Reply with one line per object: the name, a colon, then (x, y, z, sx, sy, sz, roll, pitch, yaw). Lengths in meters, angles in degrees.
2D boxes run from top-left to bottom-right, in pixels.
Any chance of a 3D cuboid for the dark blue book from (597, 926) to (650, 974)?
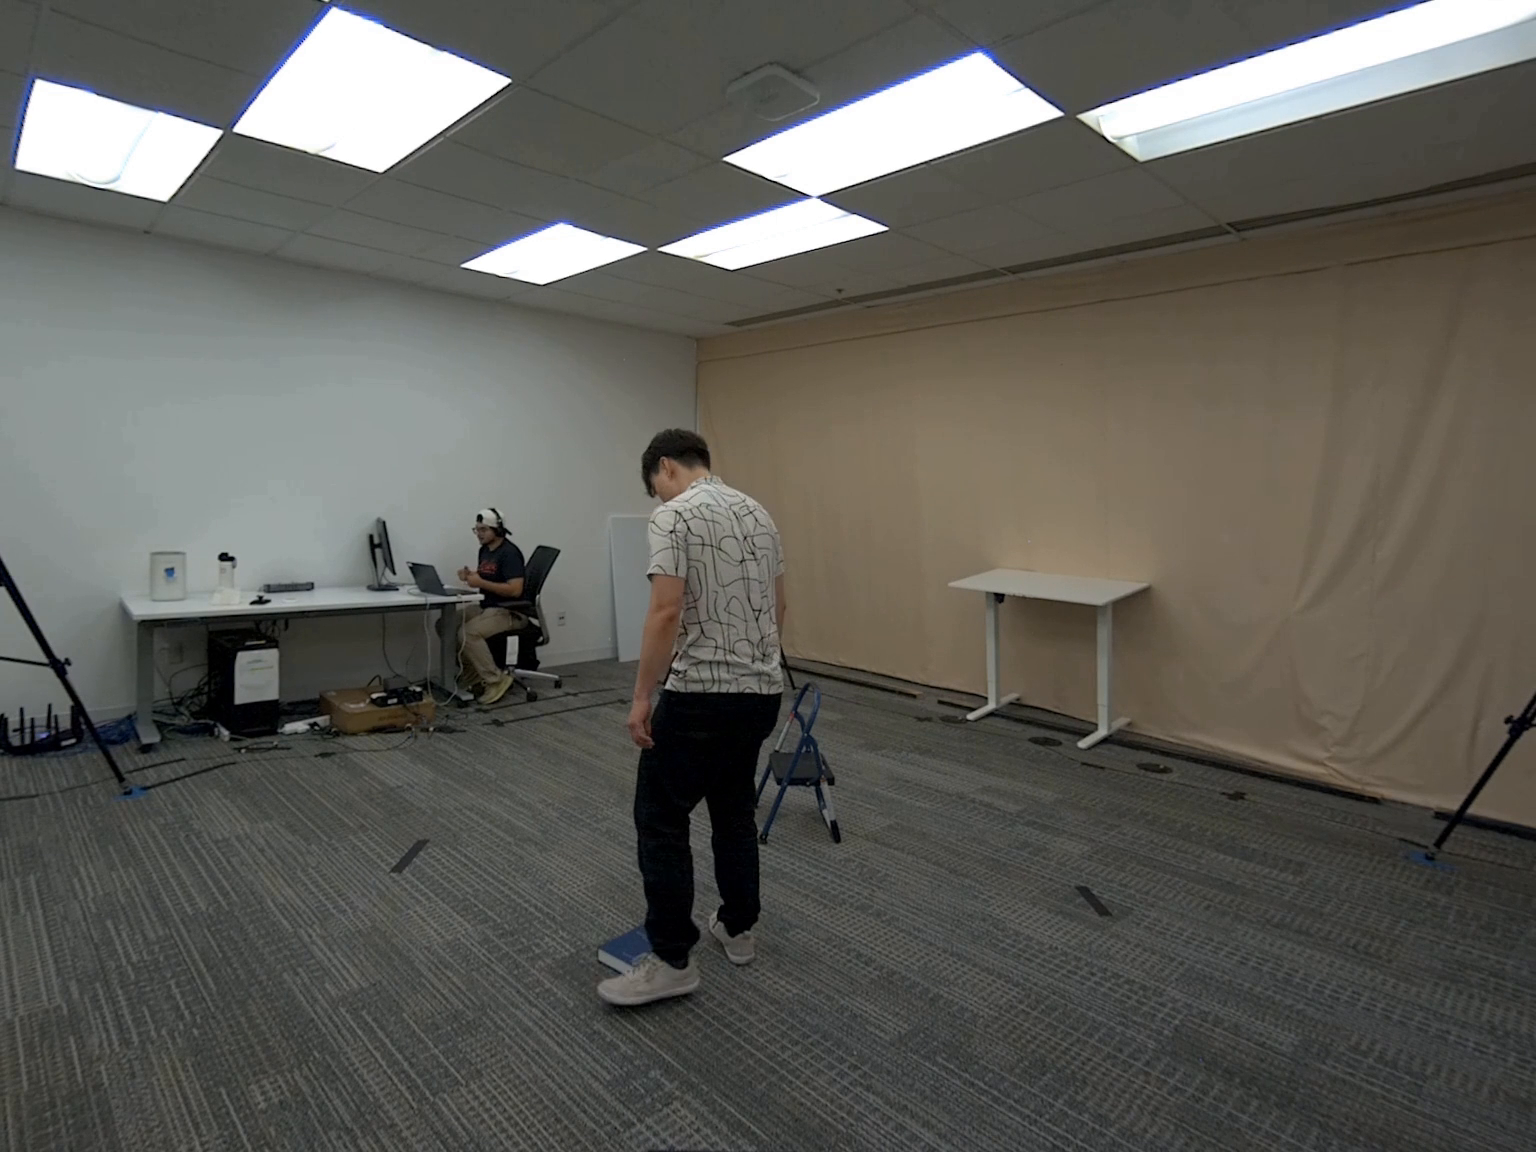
dark blue book: (-0.373, 1.126, 2.547, 0.167, 0.045, 0.240, 5, 6, 38)
